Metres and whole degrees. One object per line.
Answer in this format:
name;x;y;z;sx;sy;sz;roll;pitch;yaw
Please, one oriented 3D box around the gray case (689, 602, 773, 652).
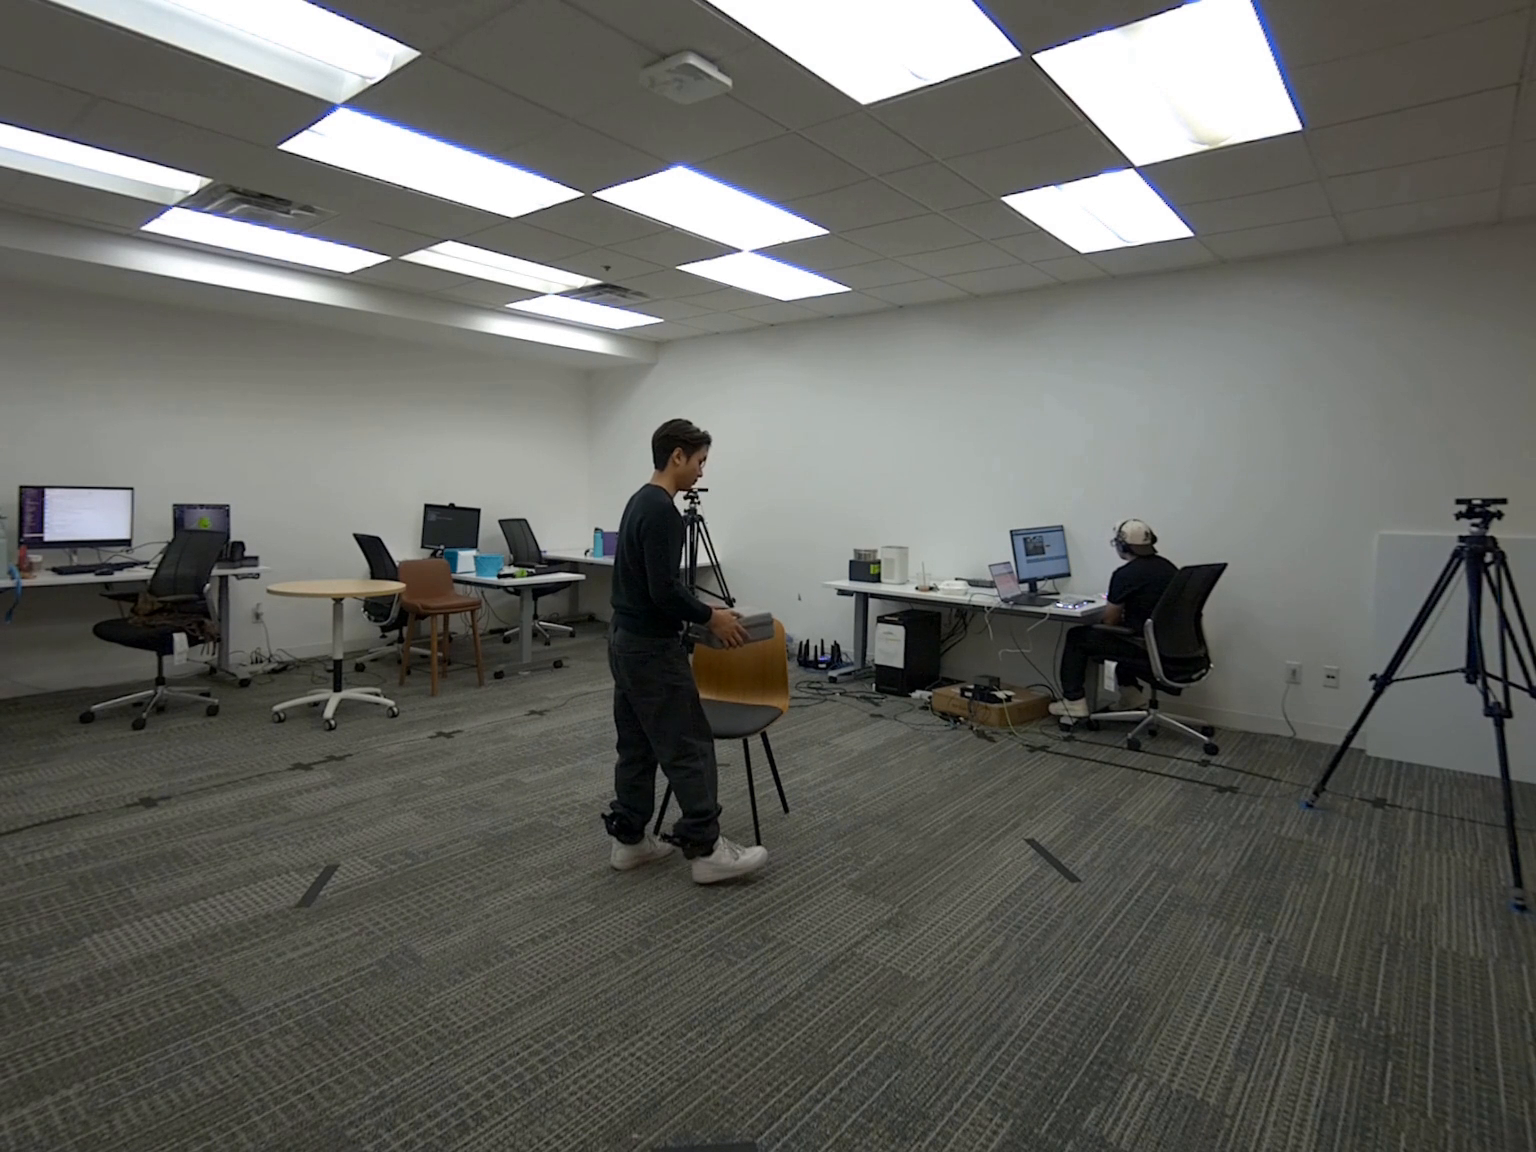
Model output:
gray case;-0.150;0.189;3.204;0.257;0.103;0.262;-8;9;-14
